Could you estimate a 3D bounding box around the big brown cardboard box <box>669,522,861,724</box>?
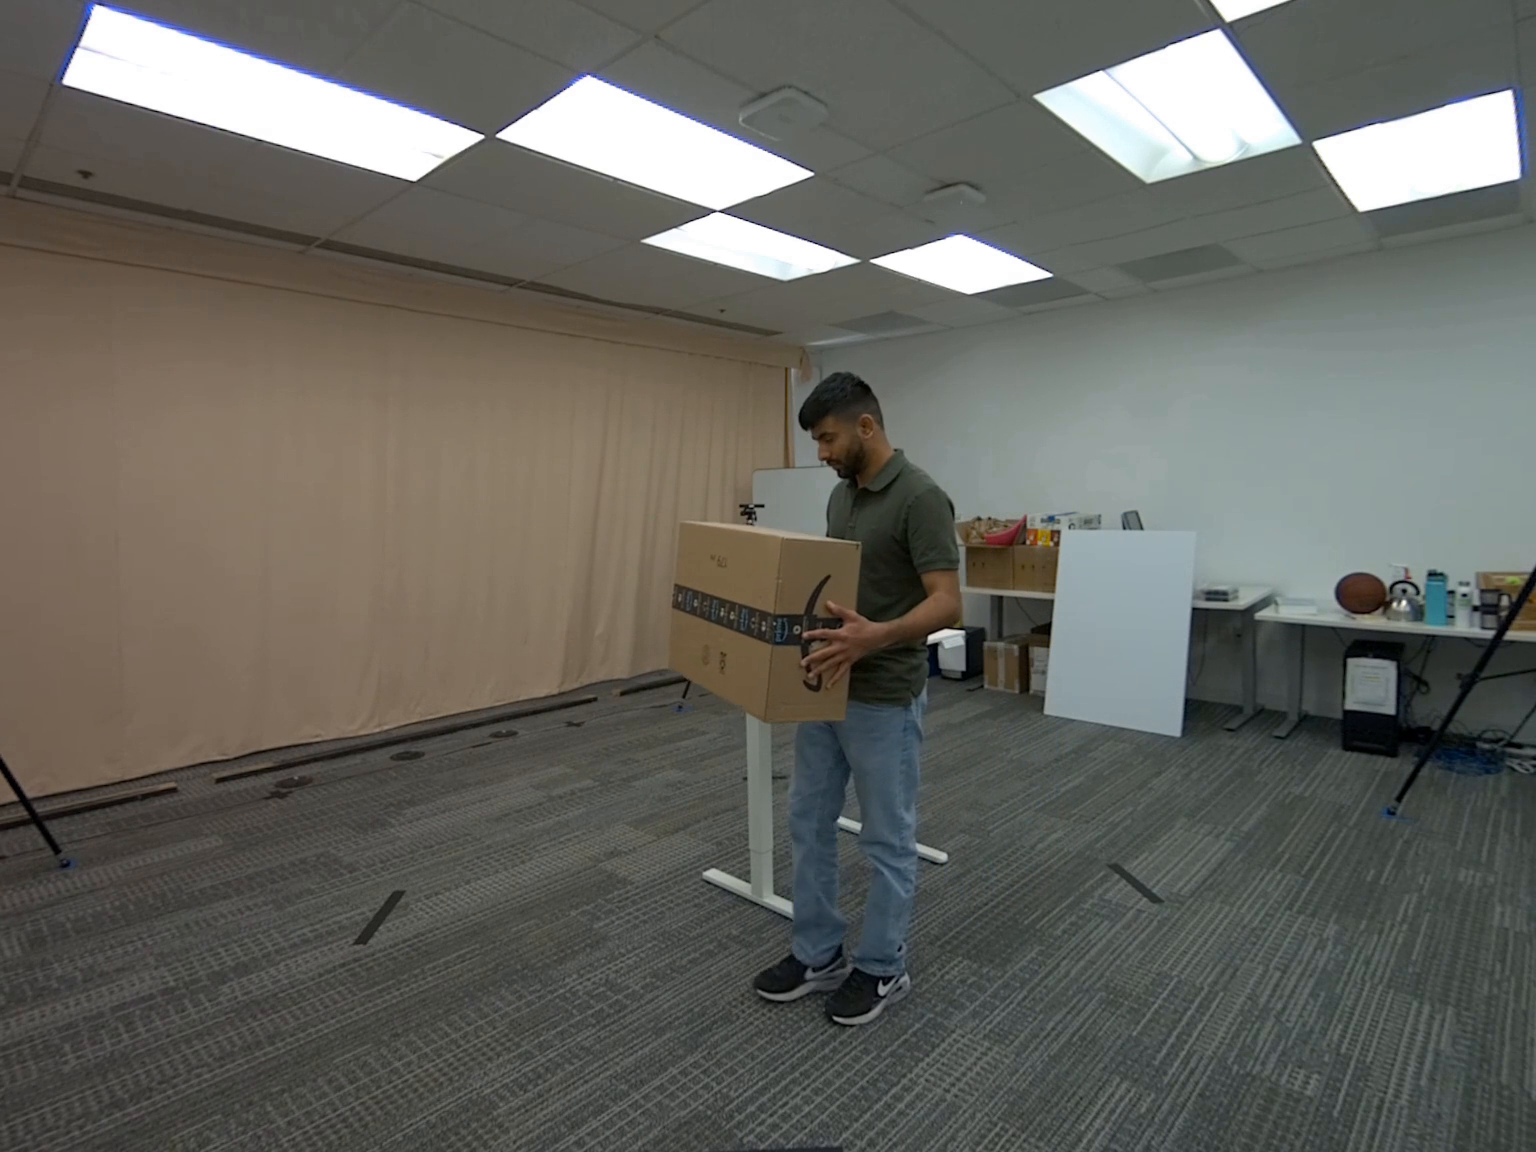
[{"bbox_3d":[-0.032,0.091,2.148,0.227,0.416,0.606,3,5,-28],"label":"big brown cardboard box"}]
